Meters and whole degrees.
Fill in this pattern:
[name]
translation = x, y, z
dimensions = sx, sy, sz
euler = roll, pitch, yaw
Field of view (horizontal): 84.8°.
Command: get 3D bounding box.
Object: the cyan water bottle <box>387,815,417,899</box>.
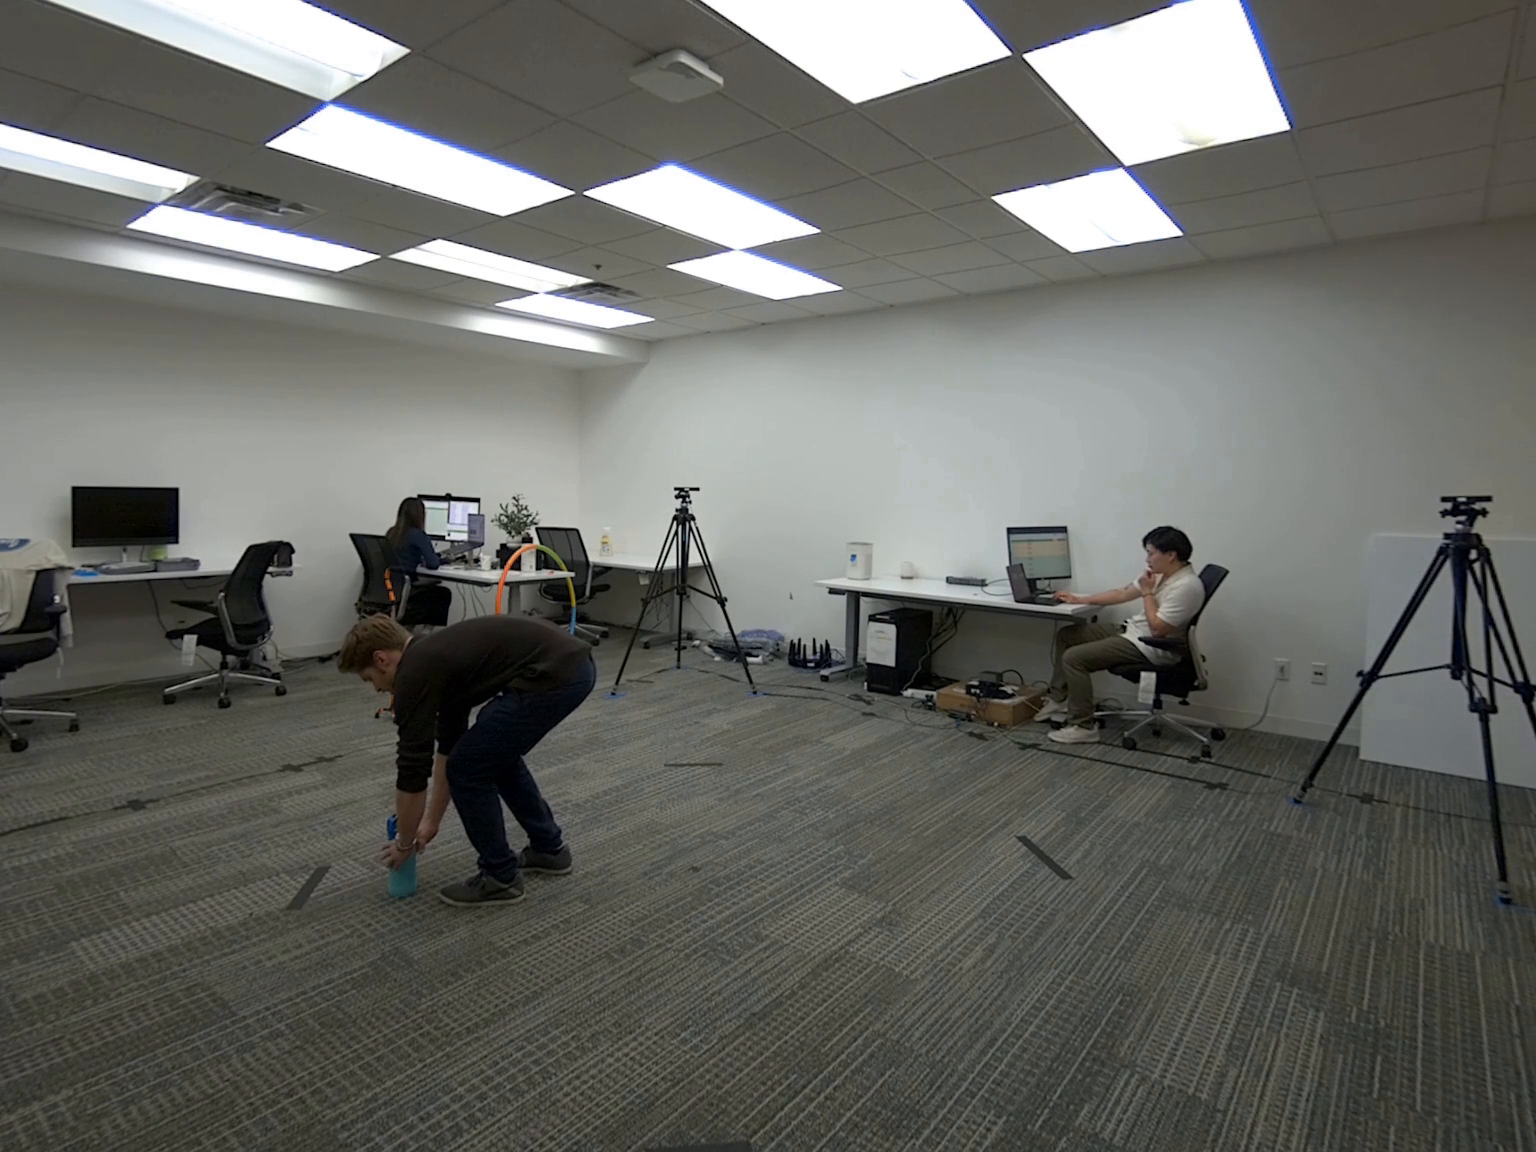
[cyan water bottle]
translation = -1.253, 0.938, 2.891
dimensions = 0.092, 0.282, 0.093
euler = -3, 4, -2
